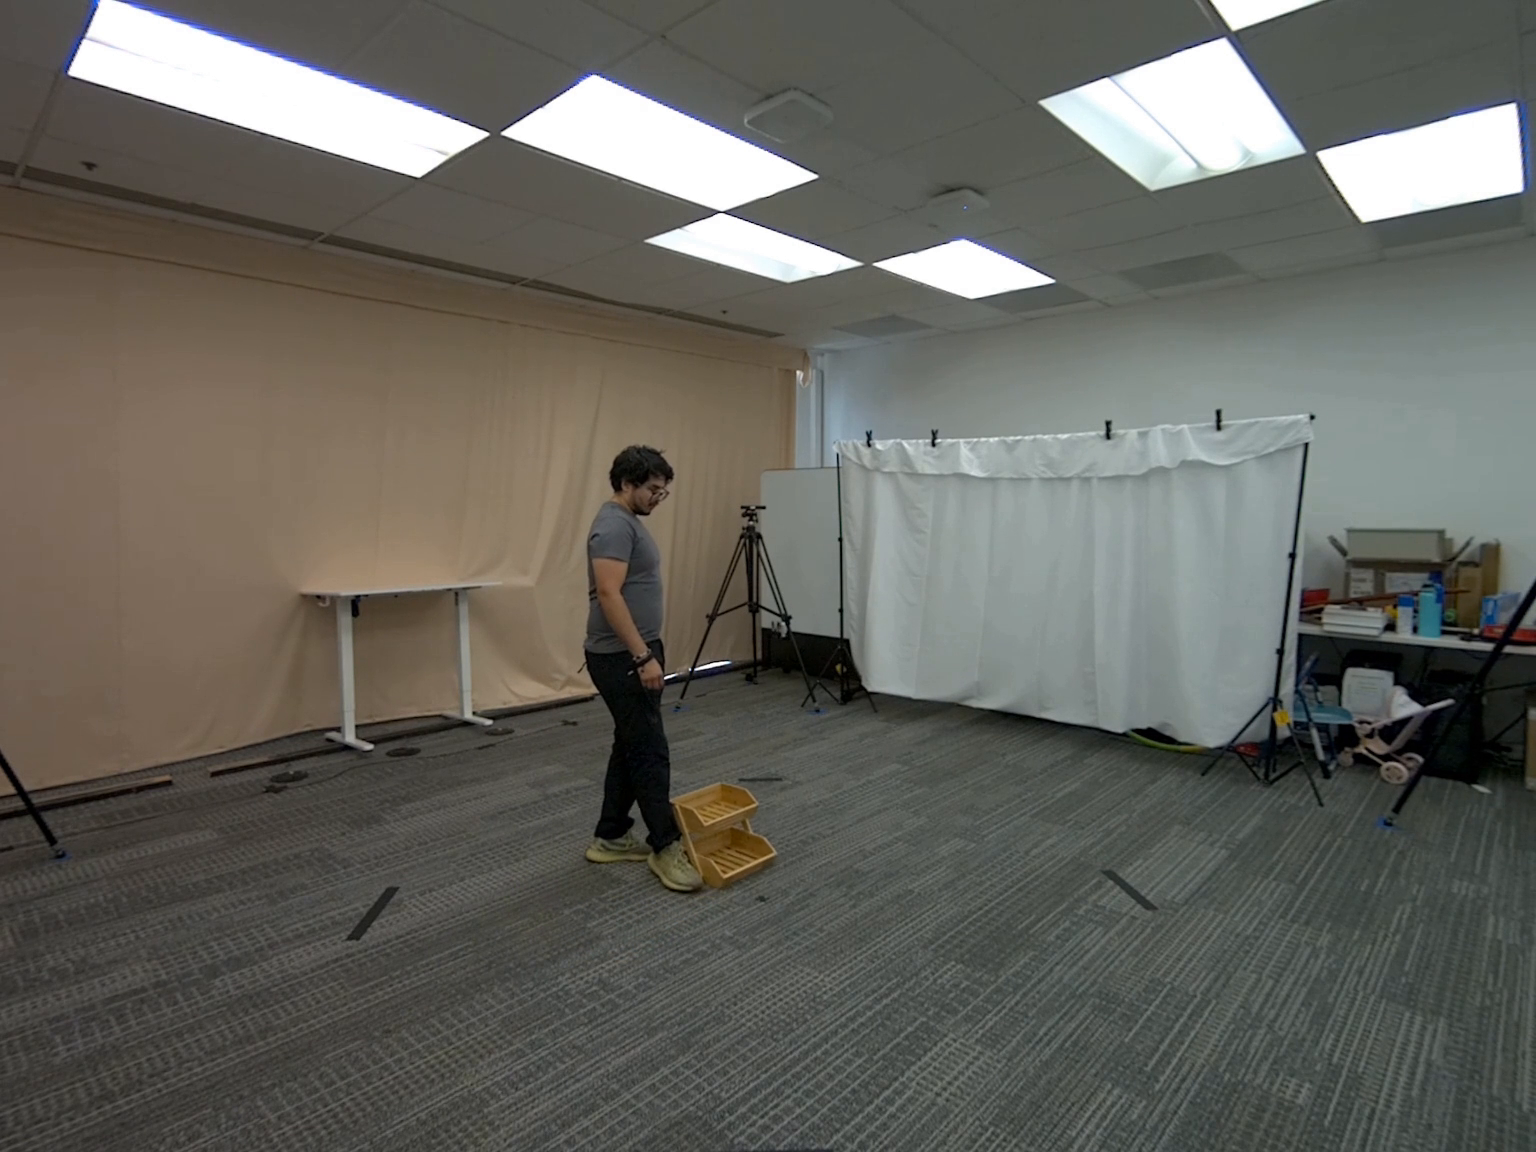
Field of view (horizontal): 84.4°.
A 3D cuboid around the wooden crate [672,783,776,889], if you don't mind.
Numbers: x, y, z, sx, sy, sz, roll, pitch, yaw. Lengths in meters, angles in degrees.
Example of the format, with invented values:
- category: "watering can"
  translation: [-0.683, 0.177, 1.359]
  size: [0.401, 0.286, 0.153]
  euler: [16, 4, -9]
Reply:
- category: "wooden crate"
  translation: [-0.175, 0.990, 3.244]
  size: [0.312, 0.273, 0.314]
  euler: [3, 5, 43]
